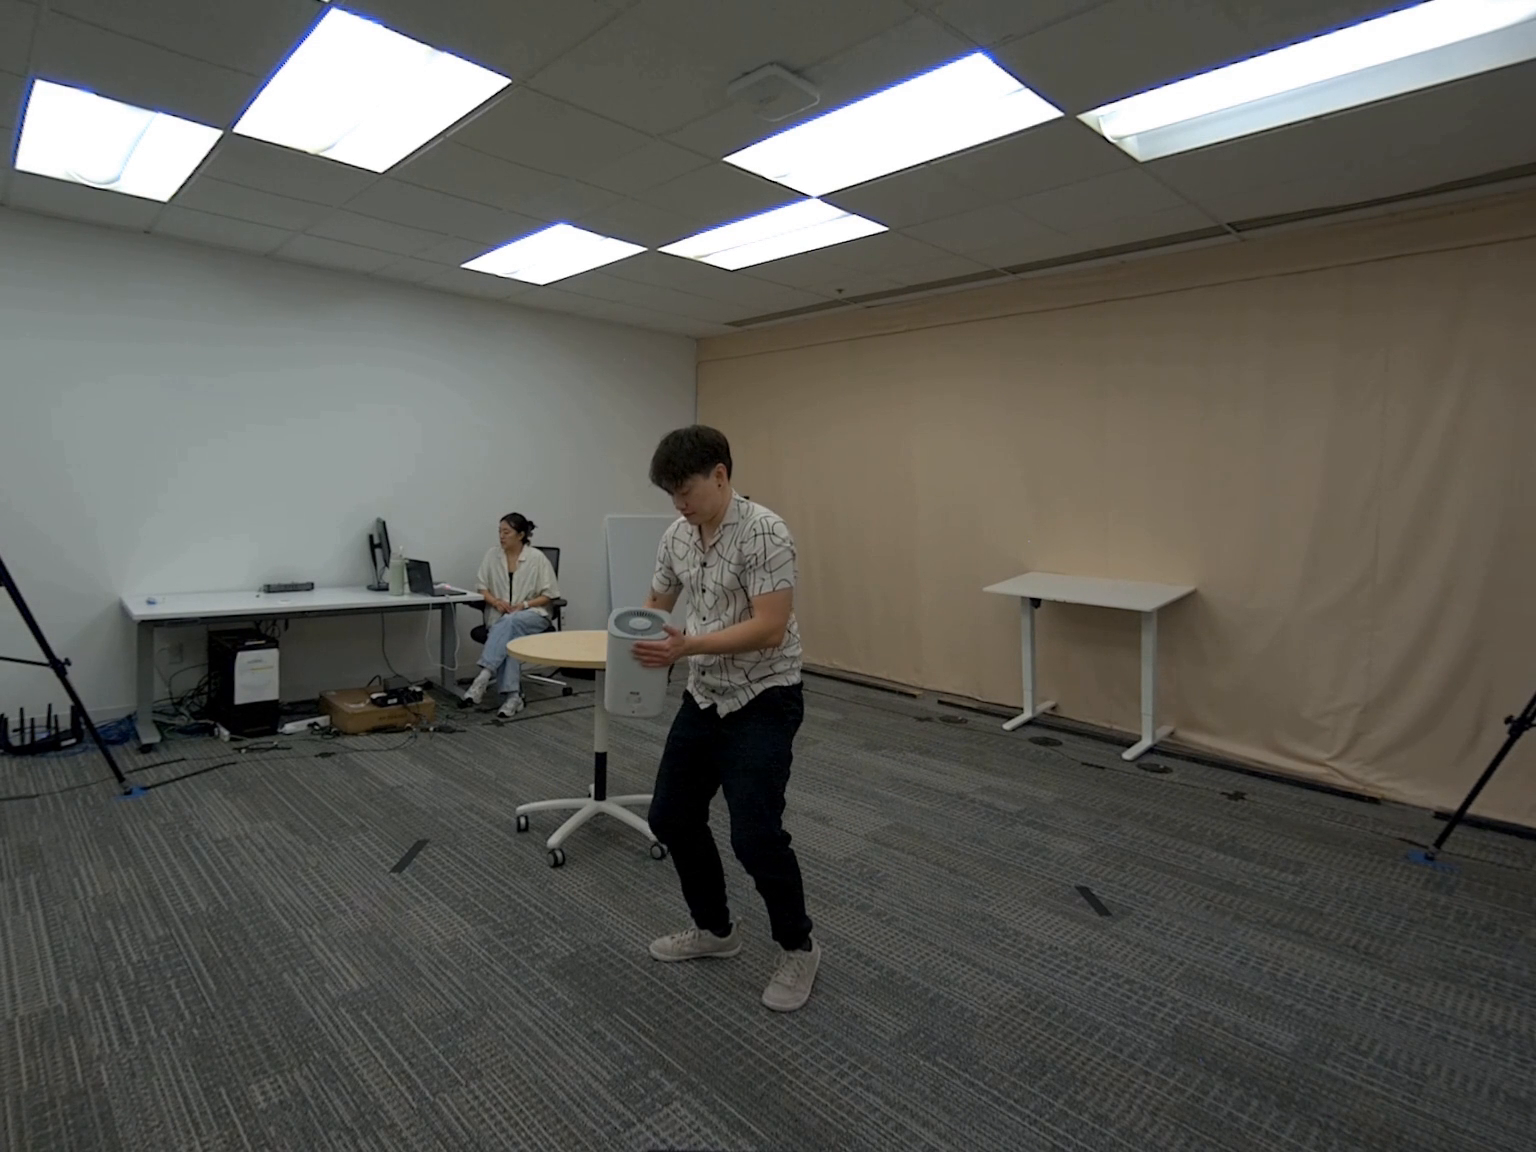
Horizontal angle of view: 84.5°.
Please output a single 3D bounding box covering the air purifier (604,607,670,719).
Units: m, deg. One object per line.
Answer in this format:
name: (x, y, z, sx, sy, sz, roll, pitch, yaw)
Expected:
air purifier: (-0.360, 0.250, 2.321, 0.170, 0.262, 0.174, 6, 24, -5)
